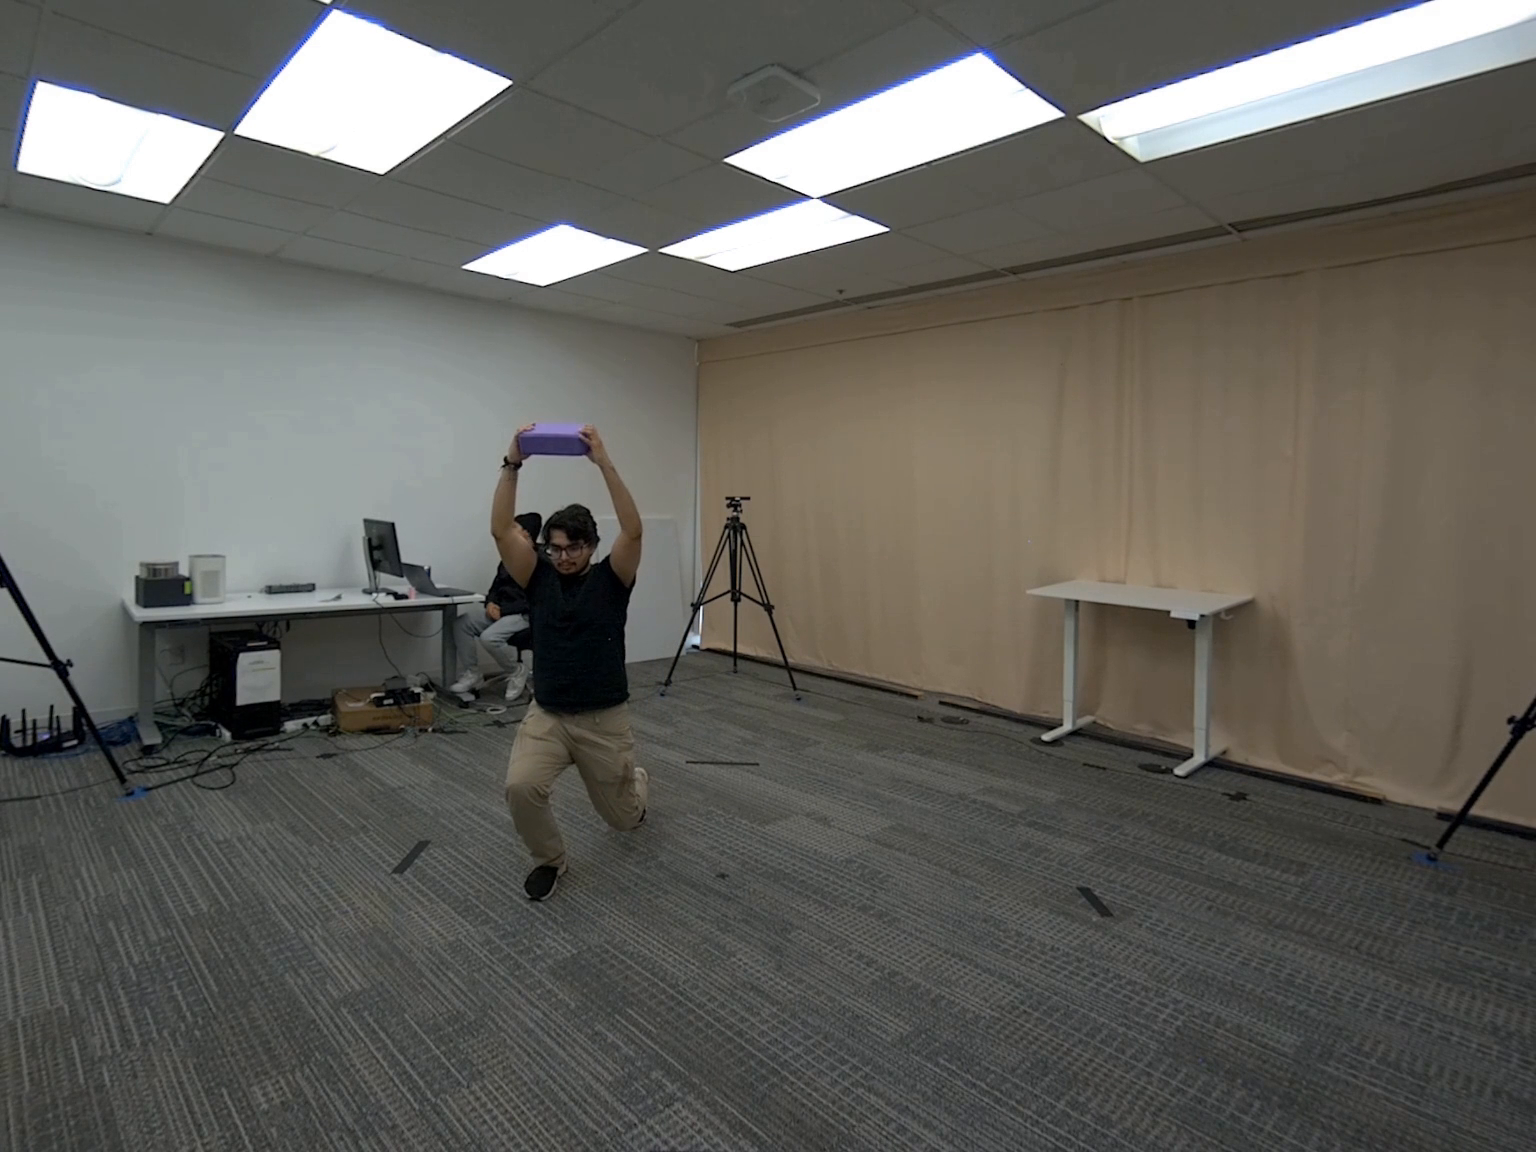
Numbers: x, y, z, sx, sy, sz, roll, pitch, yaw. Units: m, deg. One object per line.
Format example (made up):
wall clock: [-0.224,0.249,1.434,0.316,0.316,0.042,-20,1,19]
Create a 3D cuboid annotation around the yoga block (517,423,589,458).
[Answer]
yoga block: [-0.738,-0.481,2.913,0.231,0.075,0.150,1,25,9]
